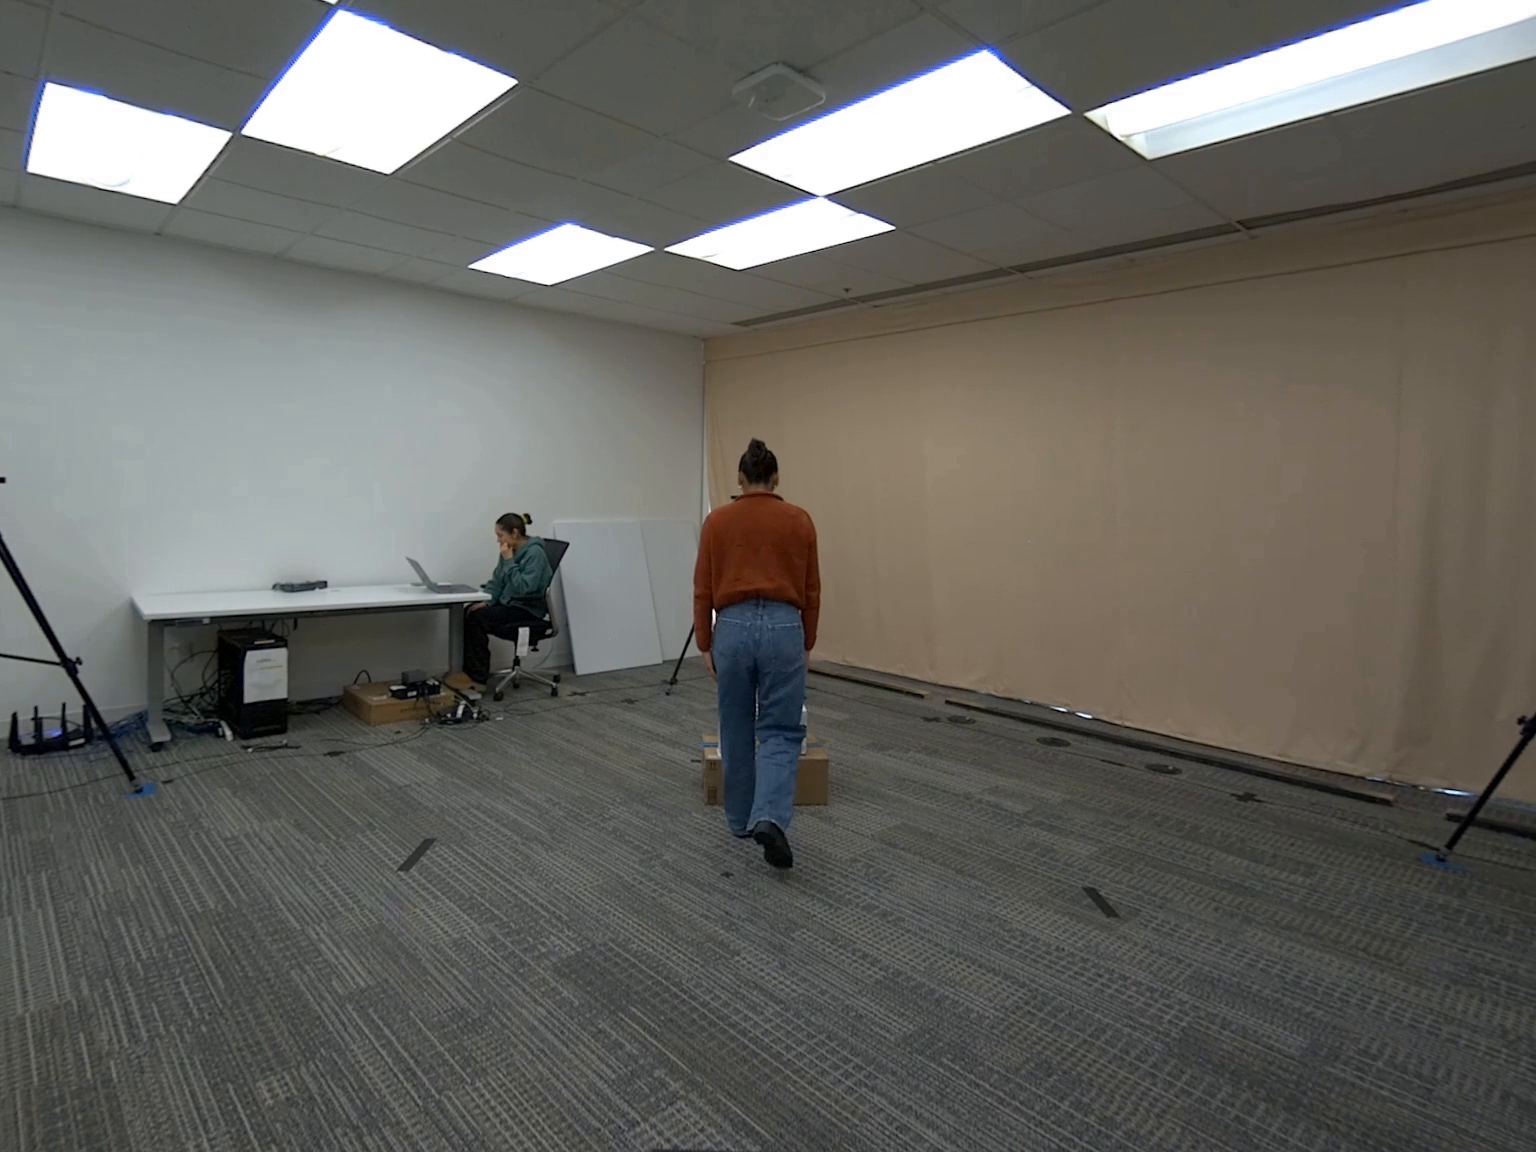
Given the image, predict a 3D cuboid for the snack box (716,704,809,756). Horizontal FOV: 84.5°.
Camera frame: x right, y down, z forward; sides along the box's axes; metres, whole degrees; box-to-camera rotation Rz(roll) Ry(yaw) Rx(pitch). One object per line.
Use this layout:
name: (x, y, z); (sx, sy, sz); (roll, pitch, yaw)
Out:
snack box: (-0.036, 0.709, 4.036); (0.404, 0.205, 0.341); (2, 2, -2)
